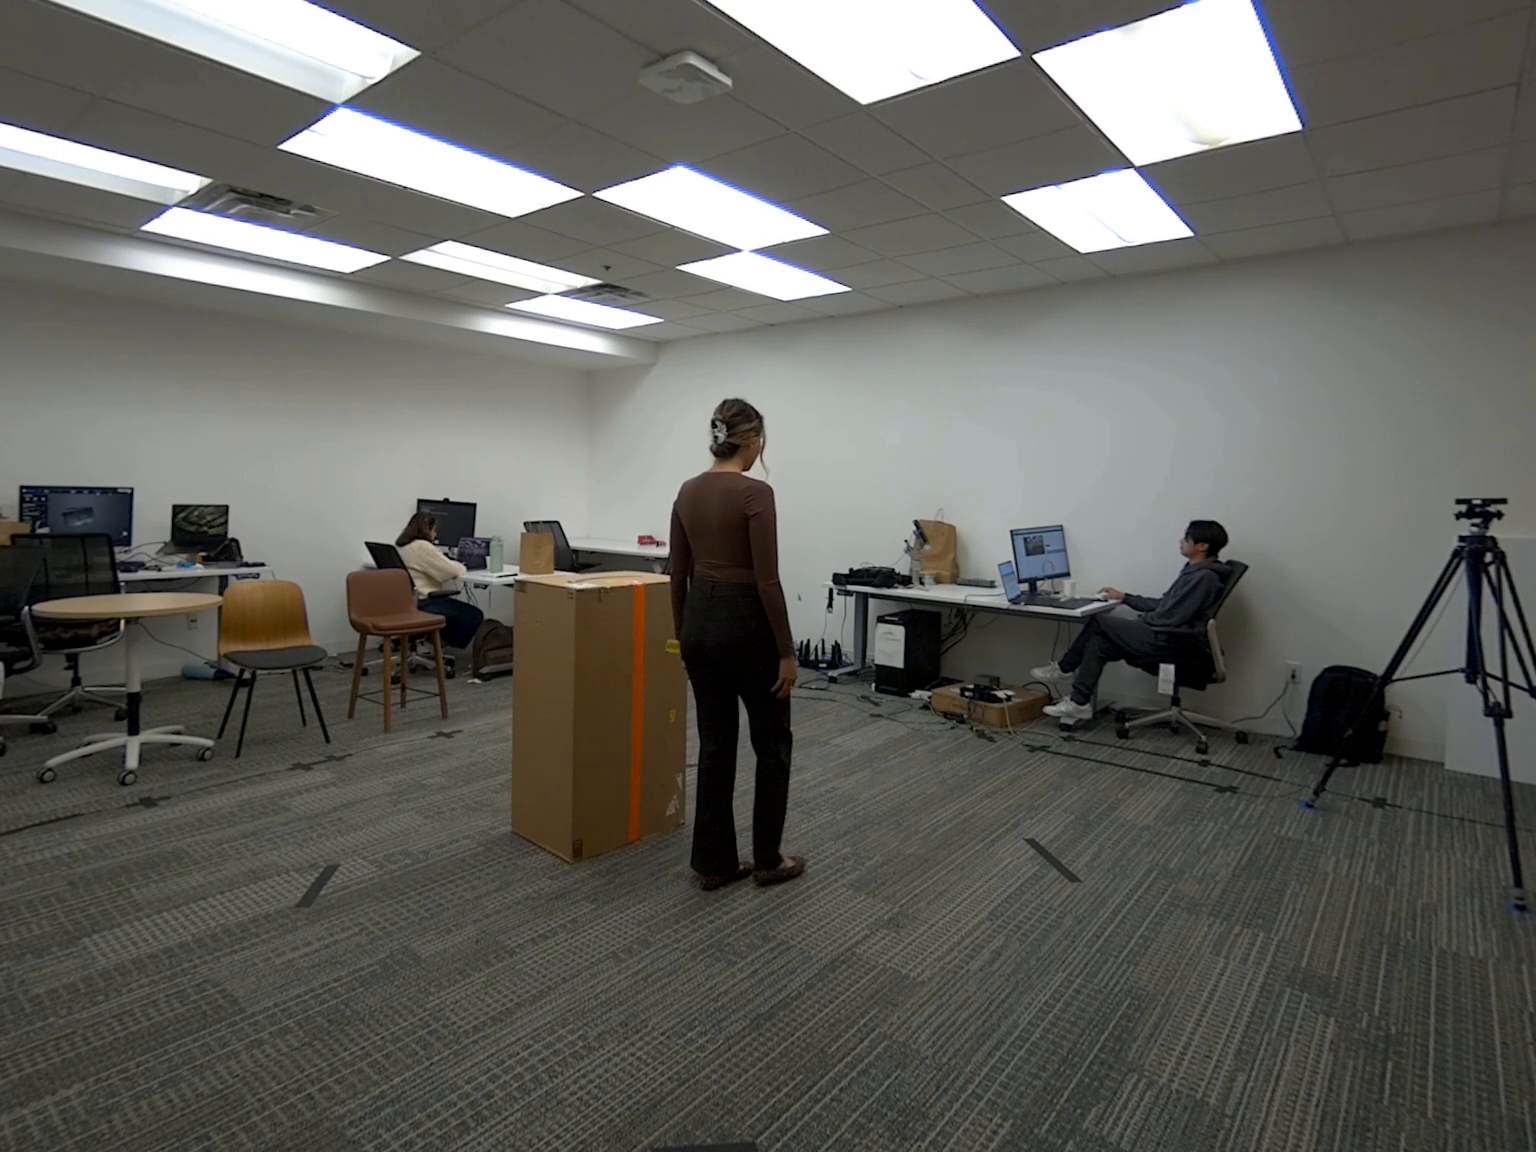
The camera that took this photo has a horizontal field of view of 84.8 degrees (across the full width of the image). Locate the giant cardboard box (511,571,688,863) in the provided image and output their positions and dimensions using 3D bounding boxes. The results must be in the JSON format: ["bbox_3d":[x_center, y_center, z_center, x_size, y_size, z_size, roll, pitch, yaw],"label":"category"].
[{"bbox_3d":[-0.692,0.517,3.455,0.462,1.024,0.566,5,5,44],"label":"giant cardboard box"}]
